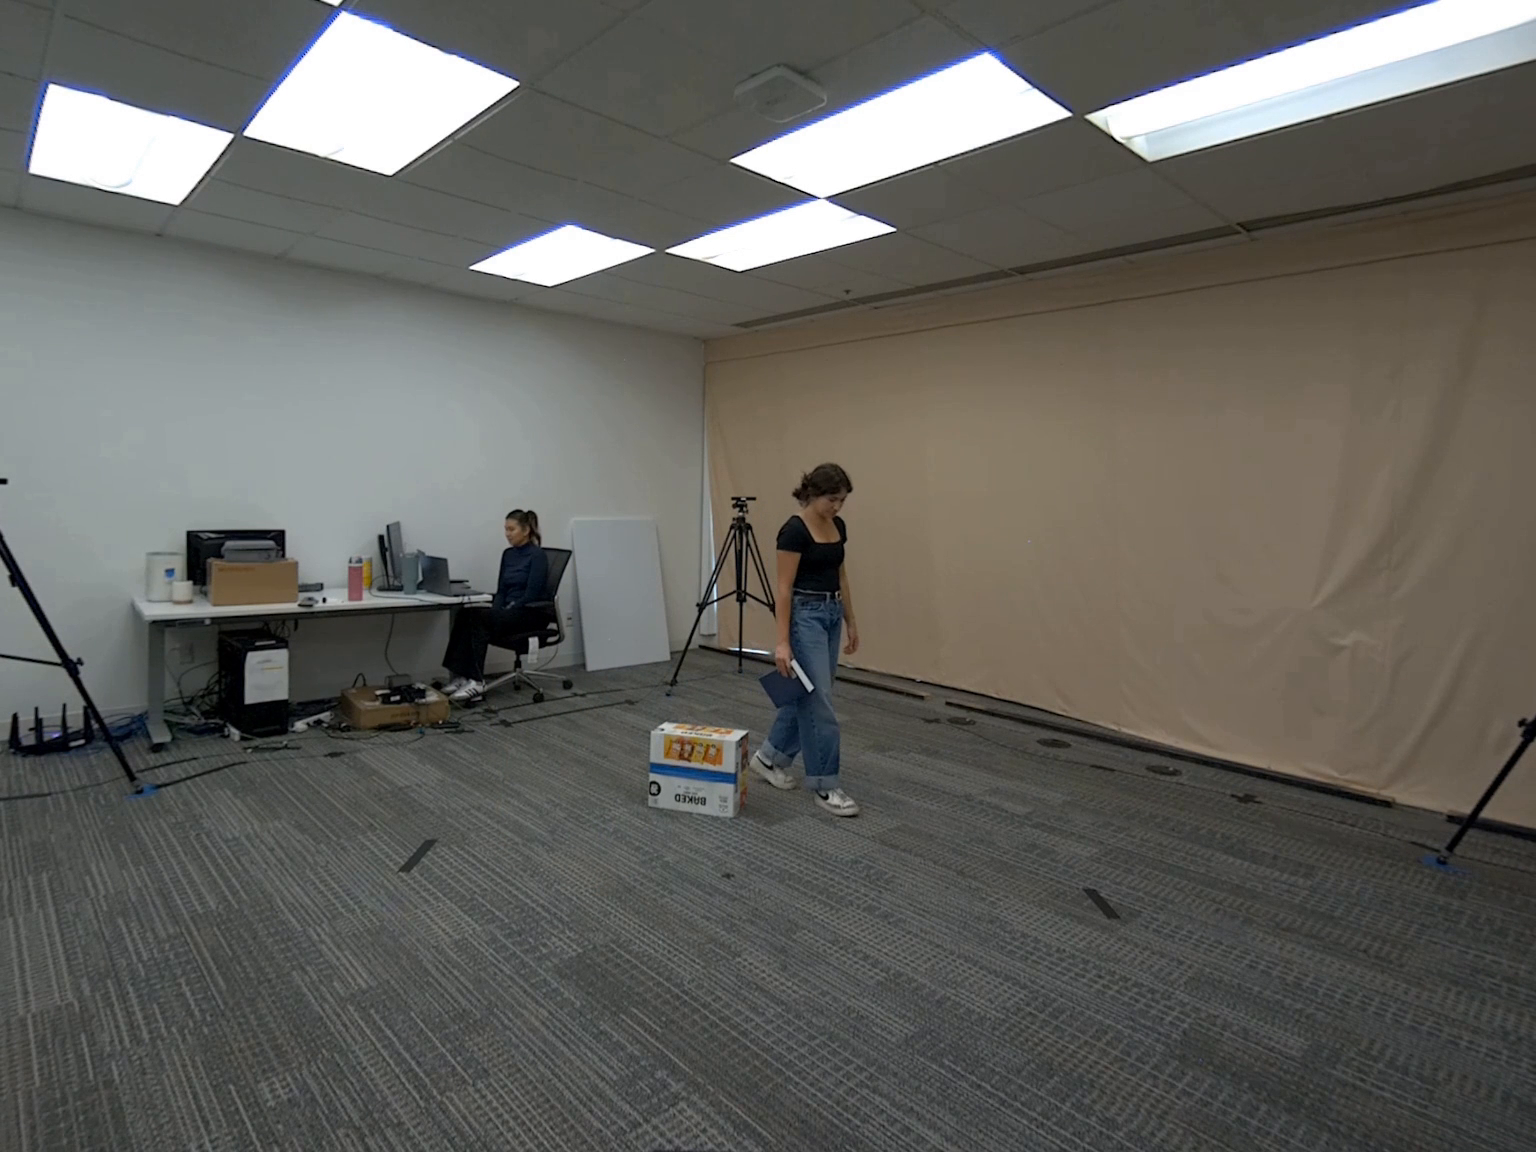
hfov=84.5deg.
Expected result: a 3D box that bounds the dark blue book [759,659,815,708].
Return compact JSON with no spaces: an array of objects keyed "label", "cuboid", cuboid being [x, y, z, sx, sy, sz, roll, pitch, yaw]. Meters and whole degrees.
[{"label":"dark blue book","cuboid":[0.075,0.485,3.773,0.045,0.164,0.246,-29,-6,-43]}]
